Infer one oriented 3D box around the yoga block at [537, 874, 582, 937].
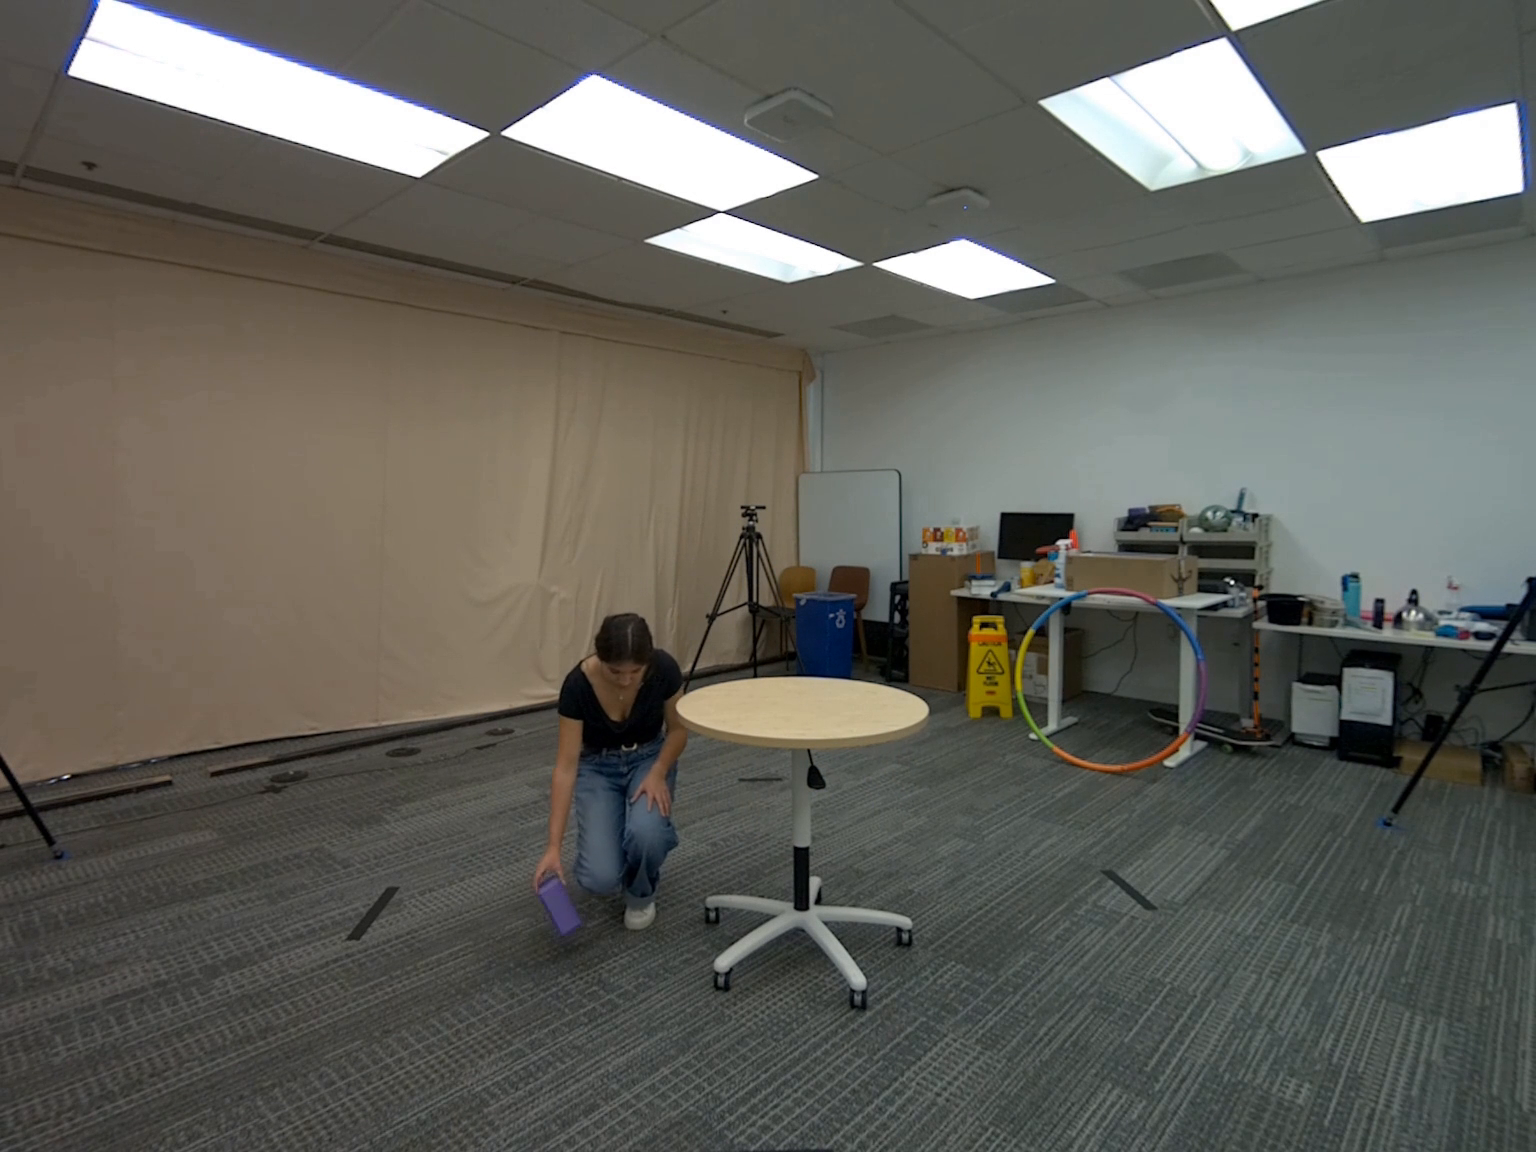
[{"bbox_3d":[-0.641,0.999,2.601,0.075,0.150,0.231,-28,-7,-24],"label":"yoga block"}]
